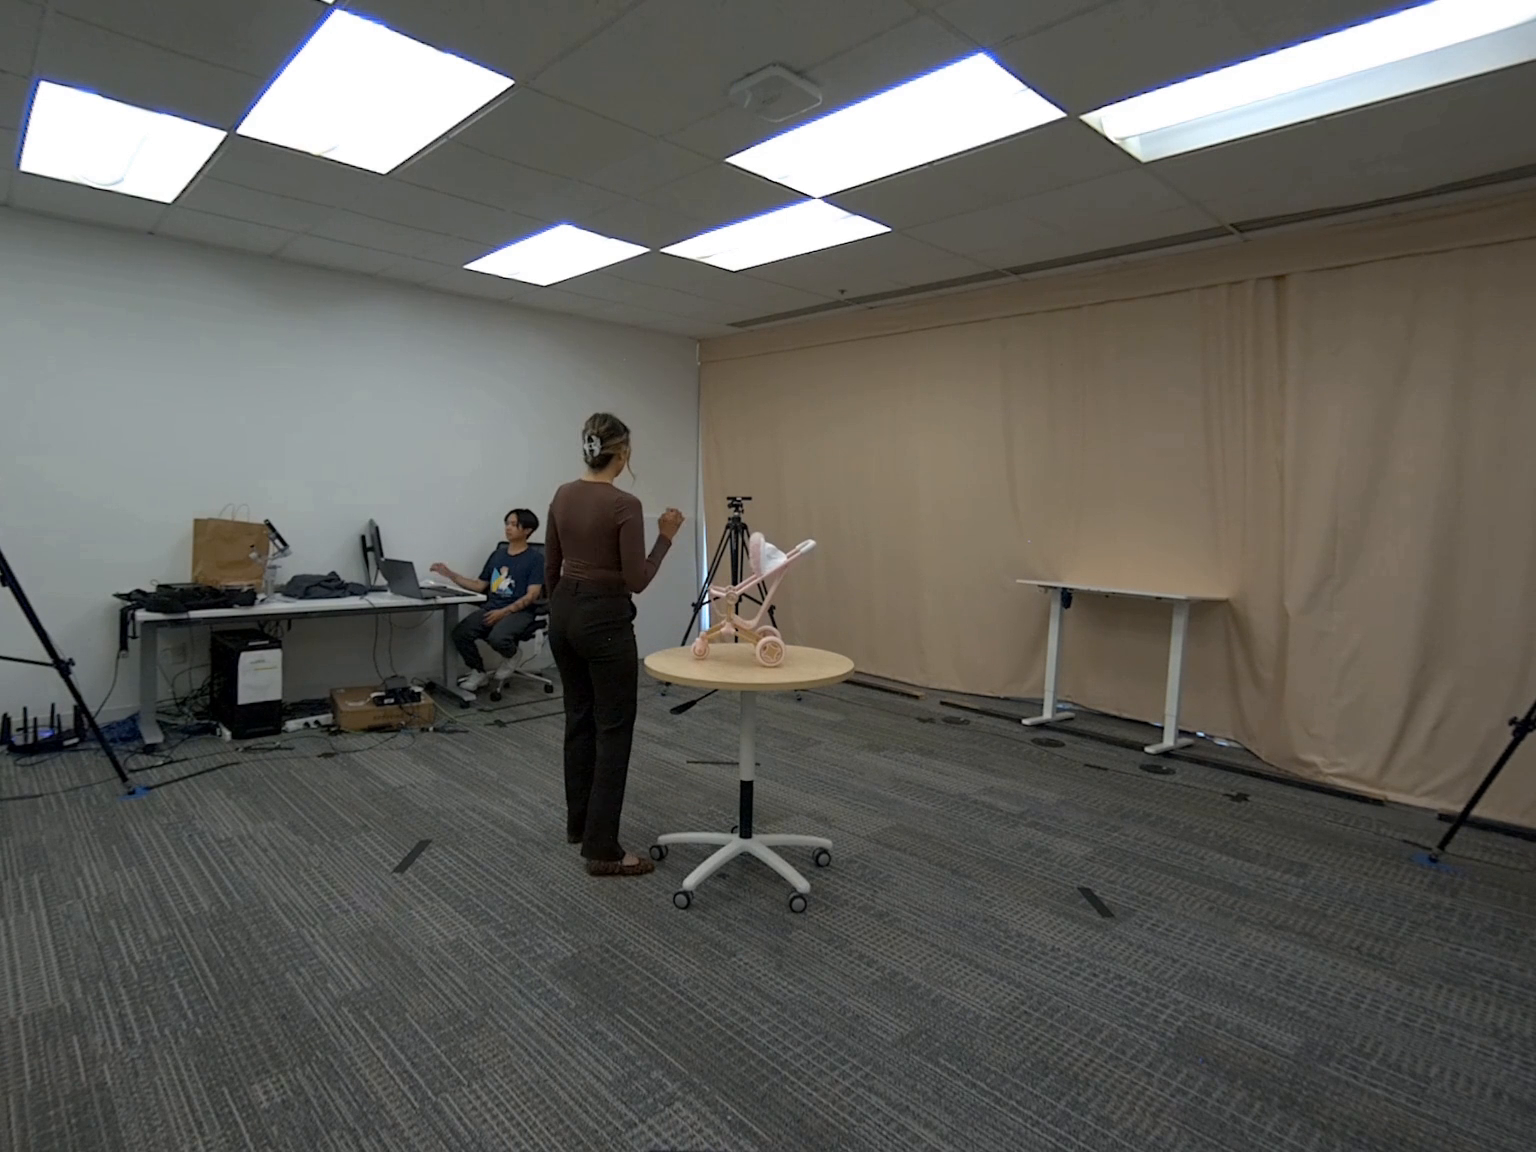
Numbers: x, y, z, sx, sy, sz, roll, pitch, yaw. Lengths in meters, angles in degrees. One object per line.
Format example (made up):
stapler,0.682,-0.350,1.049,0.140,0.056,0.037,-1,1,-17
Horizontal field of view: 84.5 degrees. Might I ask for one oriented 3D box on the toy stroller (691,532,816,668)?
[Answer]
toy stroller,-0.073,0.085,3.081,0.342,0.534,0.281,15,4,1
